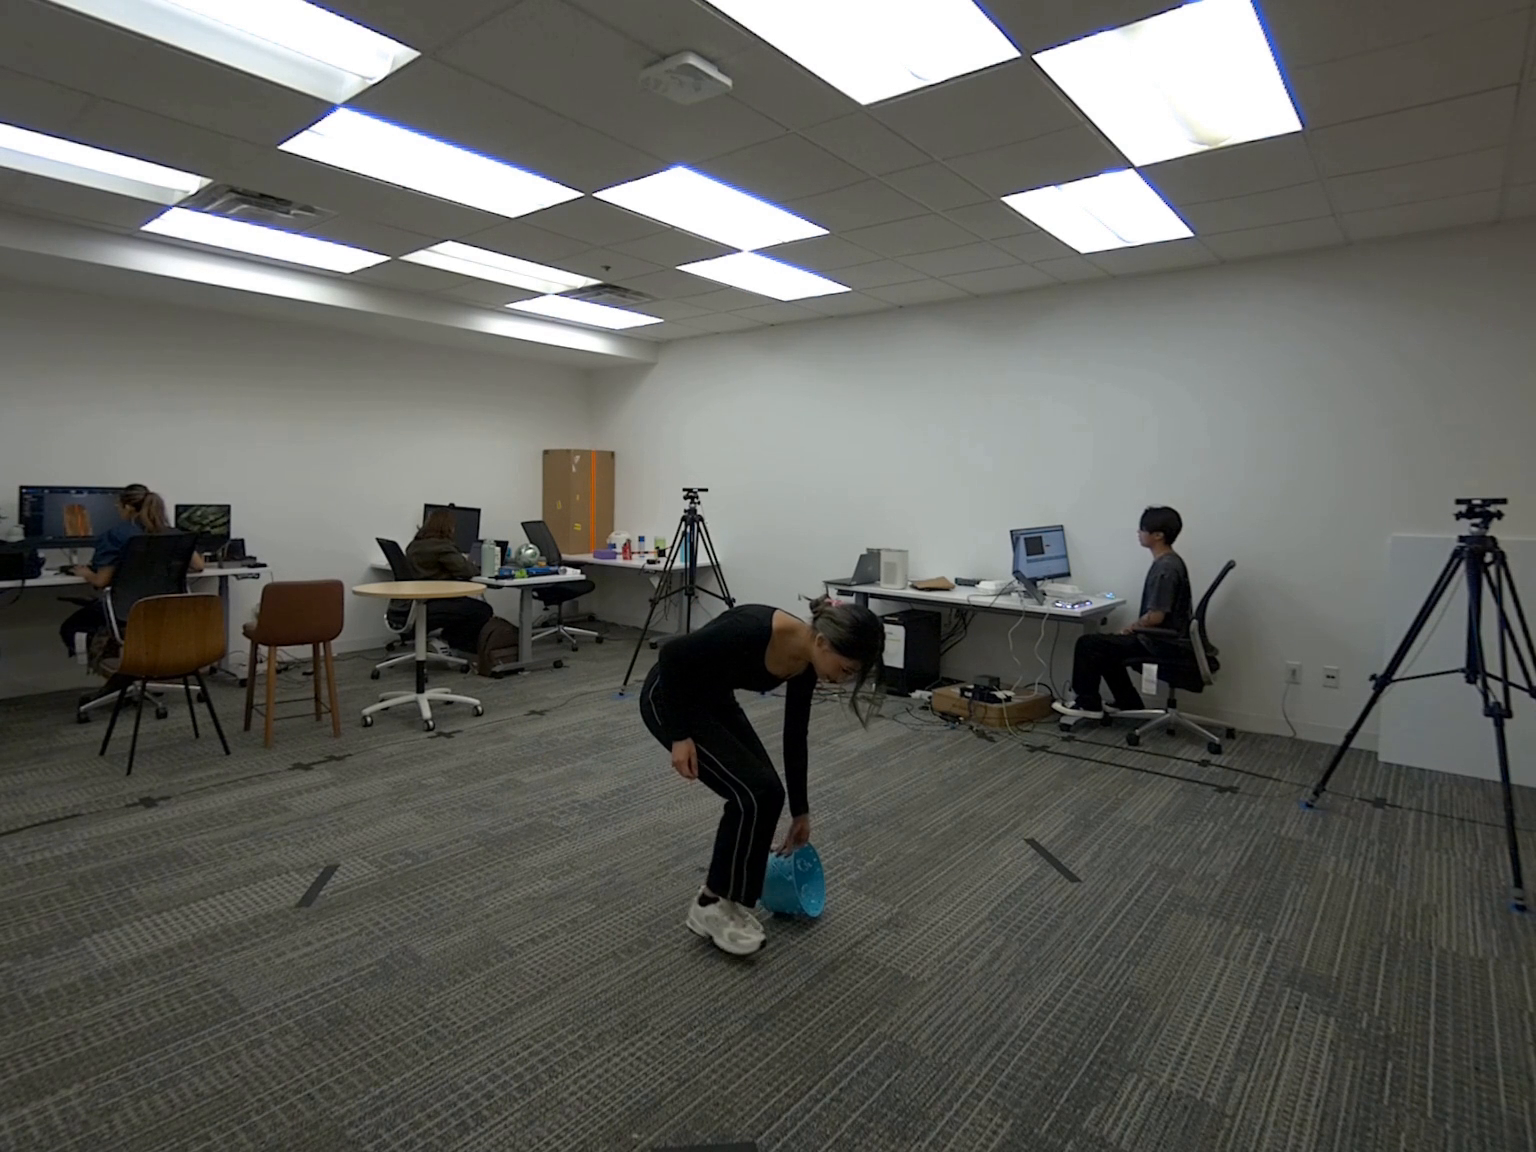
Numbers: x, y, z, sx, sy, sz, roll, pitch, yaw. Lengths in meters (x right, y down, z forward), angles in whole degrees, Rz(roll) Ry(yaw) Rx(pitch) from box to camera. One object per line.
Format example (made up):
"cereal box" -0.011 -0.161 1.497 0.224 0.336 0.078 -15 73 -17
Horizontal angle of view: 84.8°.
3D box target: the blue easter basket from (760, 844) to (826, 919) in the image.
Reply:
"blue easter basket" 0.064 0.992 2.797 0.158 0.245 0.238 -18 -5 25
